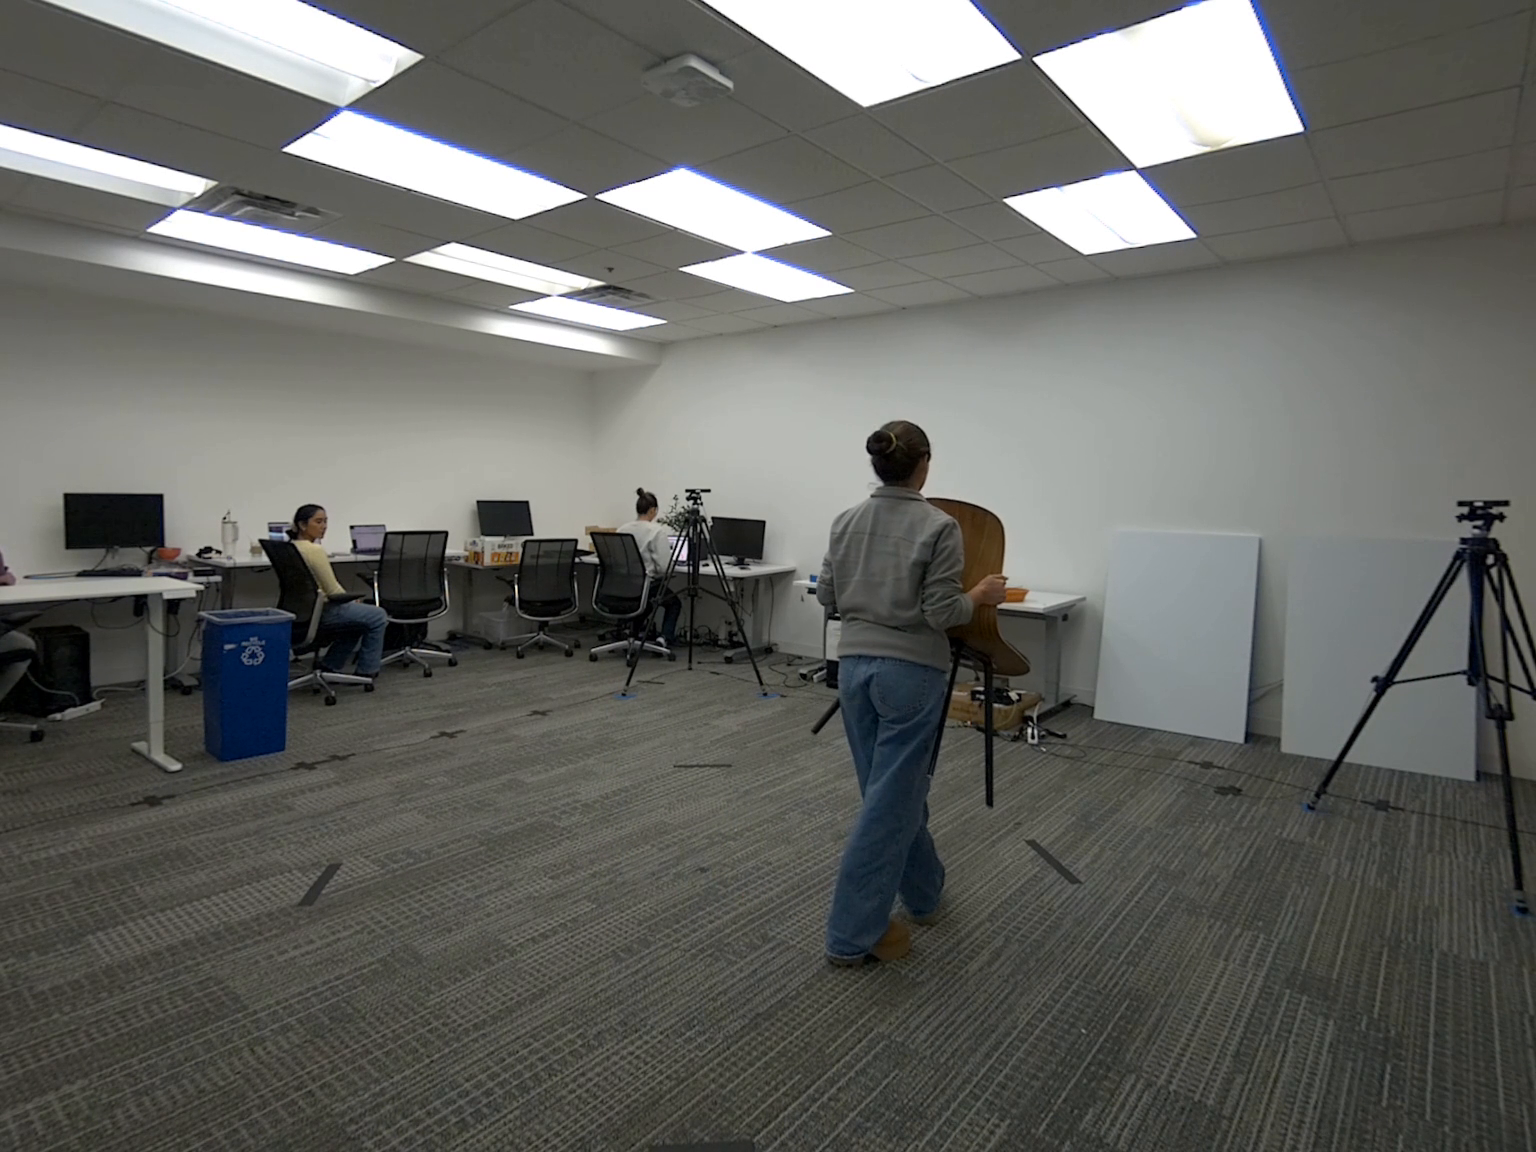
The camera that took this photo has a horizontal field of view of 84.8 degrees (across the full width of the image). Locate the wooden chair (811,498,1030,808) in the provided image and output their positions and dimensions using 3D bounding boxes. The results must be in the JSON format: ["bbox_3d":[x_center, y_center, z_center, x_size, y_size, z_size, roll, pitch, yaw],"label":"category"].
[{"bbox_3d":[0.577,0.235,2.851,0.495,0.882,0.502,9,-13,42],"label":"wooden chair"}]
